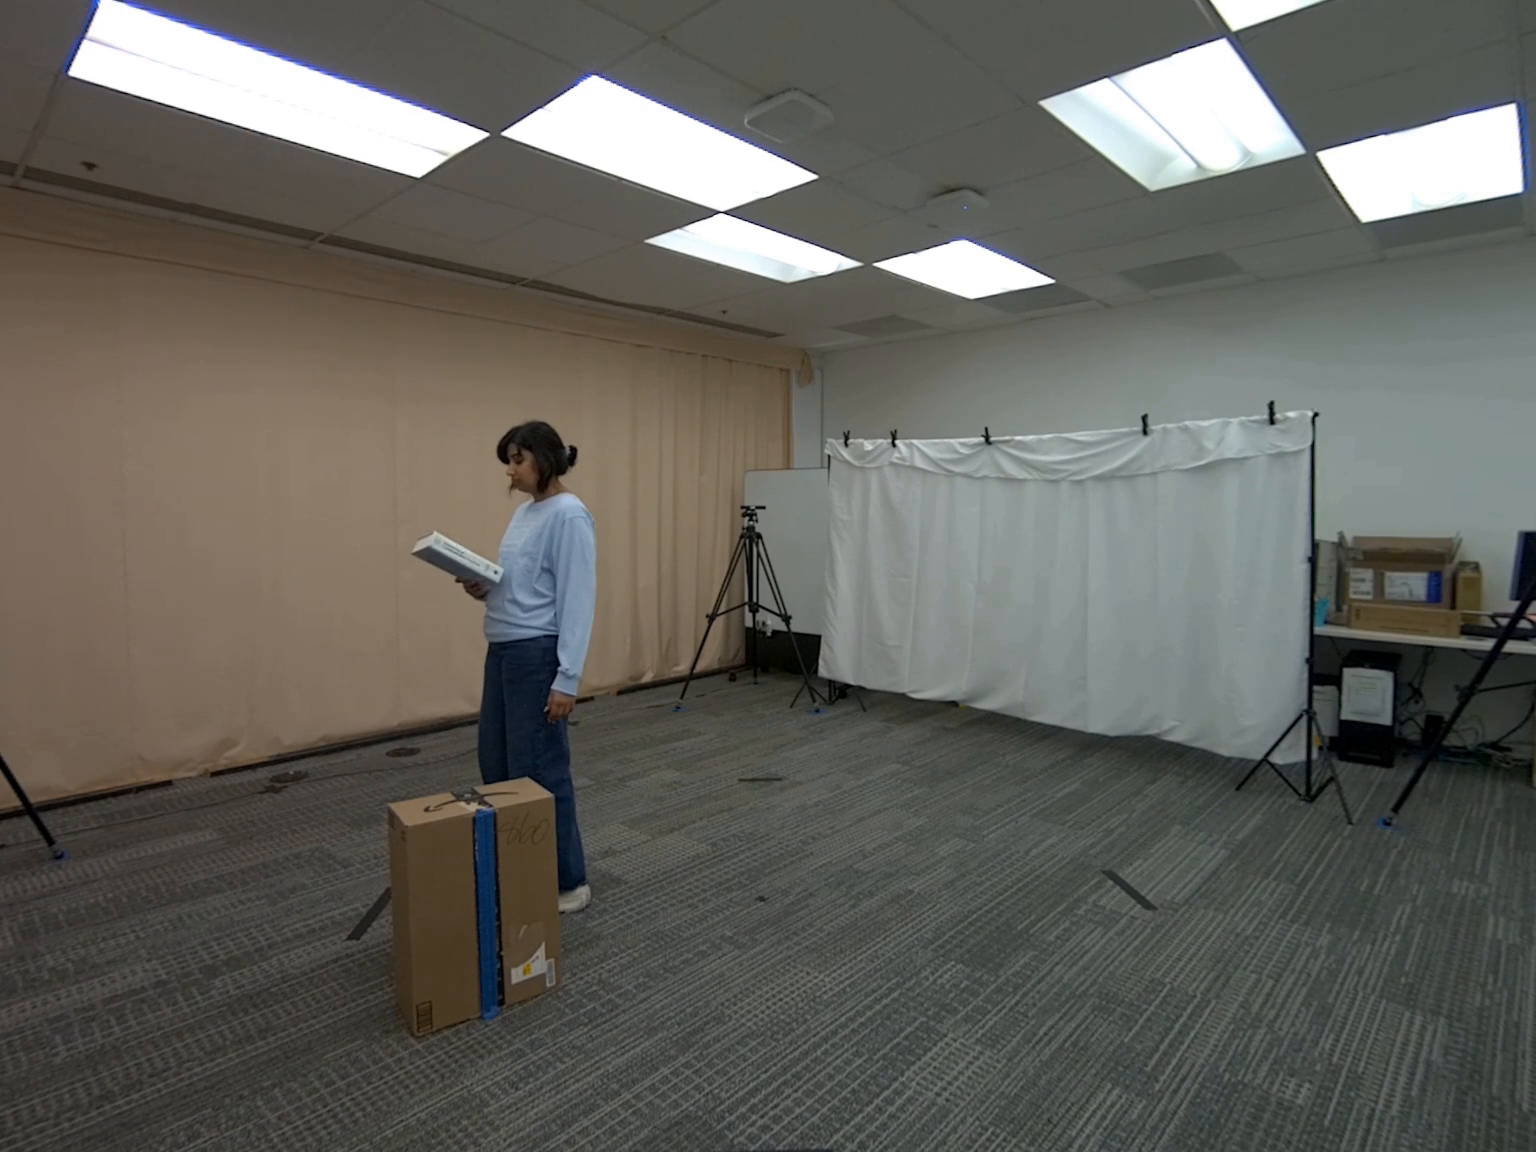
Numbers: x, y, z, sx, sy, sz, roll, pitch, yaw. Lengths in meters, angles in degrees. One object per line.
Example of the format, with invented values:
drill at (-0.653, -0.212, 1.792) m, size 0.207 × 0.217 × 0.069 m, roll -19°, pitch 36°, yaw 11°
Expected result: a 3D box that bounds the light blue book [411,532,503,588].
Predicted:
light blue book at (-1.047, -0.049, 2.820) m, size 0.253 × 0.059 × 0.196 m, roll 33°, pitch -26°, yaw -29°
